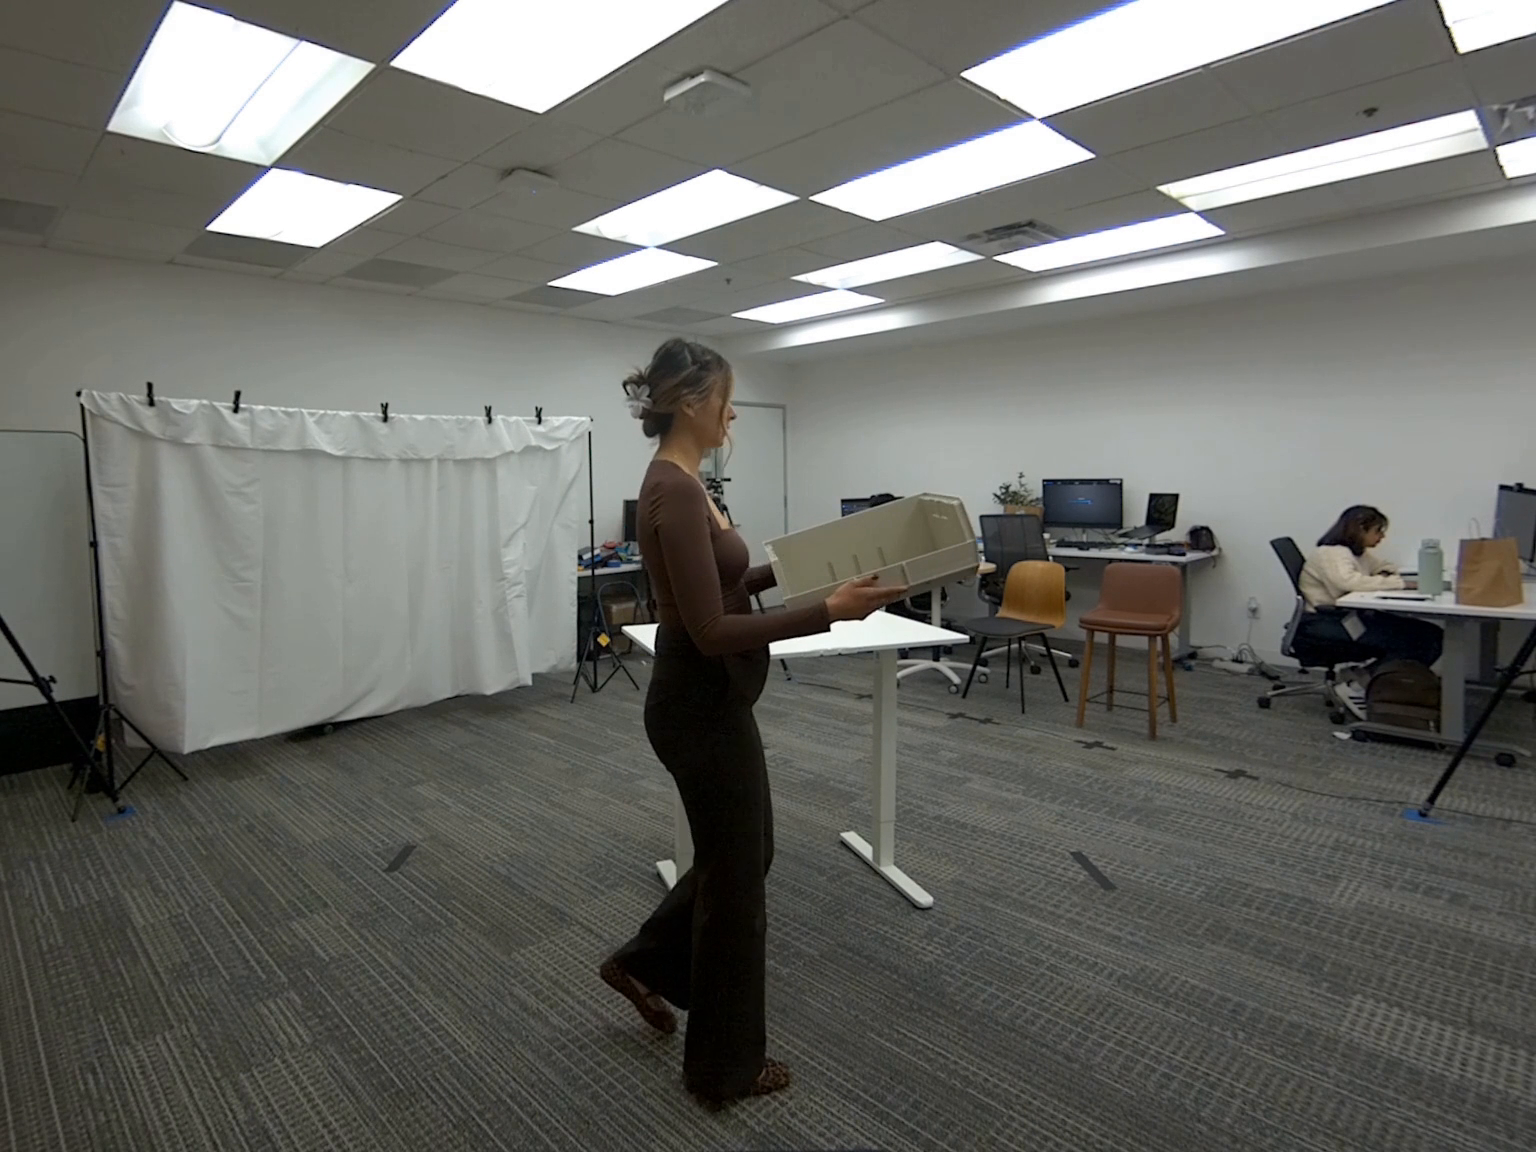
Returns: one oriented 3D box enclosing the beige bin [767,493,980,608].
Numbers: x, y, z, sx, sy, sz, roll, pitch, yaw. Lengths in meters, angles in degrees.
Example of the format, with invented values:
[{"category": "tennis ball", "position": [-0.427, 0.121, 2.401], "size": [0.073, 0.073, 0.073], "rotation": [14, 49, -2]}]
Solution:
[{"category": "beige bin", "position": [0.222, -0.040, 1.932], "size": [0.422, 0.188, 0.378], "rotation": [-18, 5, 1]}]
